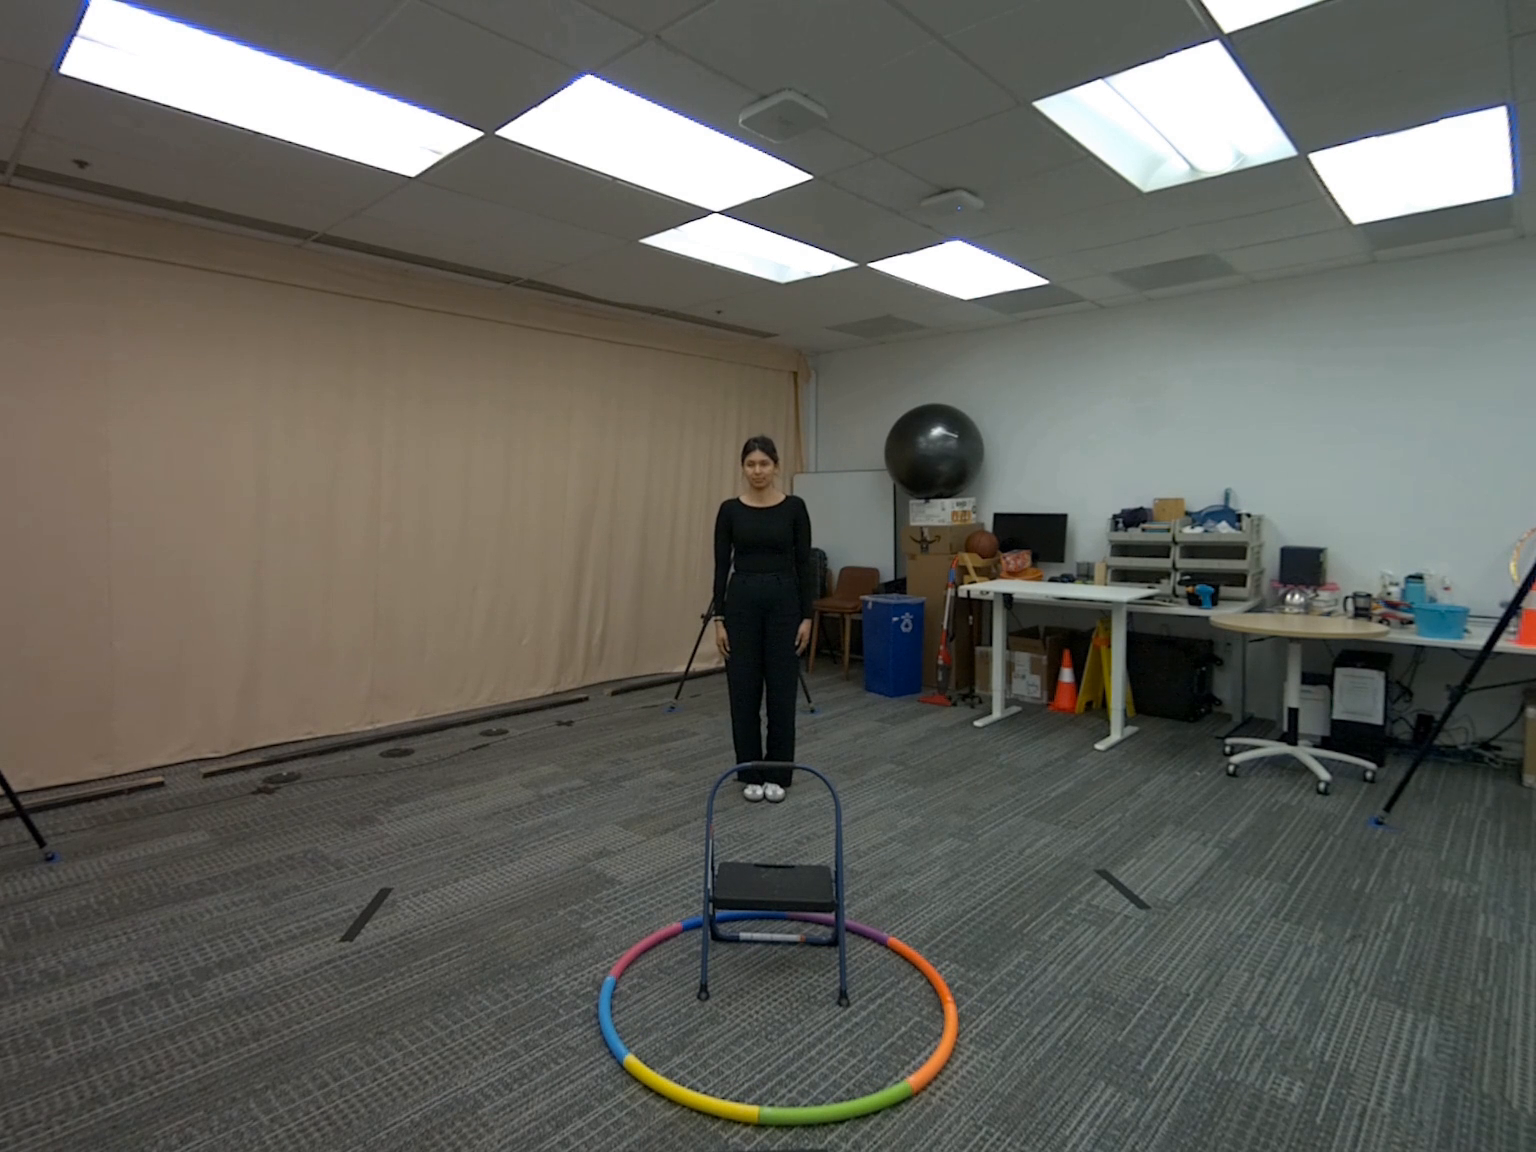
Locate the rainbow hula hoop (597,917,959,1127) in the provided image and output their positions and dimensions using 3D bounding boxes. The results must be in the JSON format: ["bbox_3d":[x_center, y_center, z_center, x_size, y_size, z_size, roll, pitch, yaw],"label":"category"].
[{"bbox_3d":[0.026,1.165,2.375,0.978,0.035,0.982,0,4,-2],"label":"rainbow hula hoop"}]
